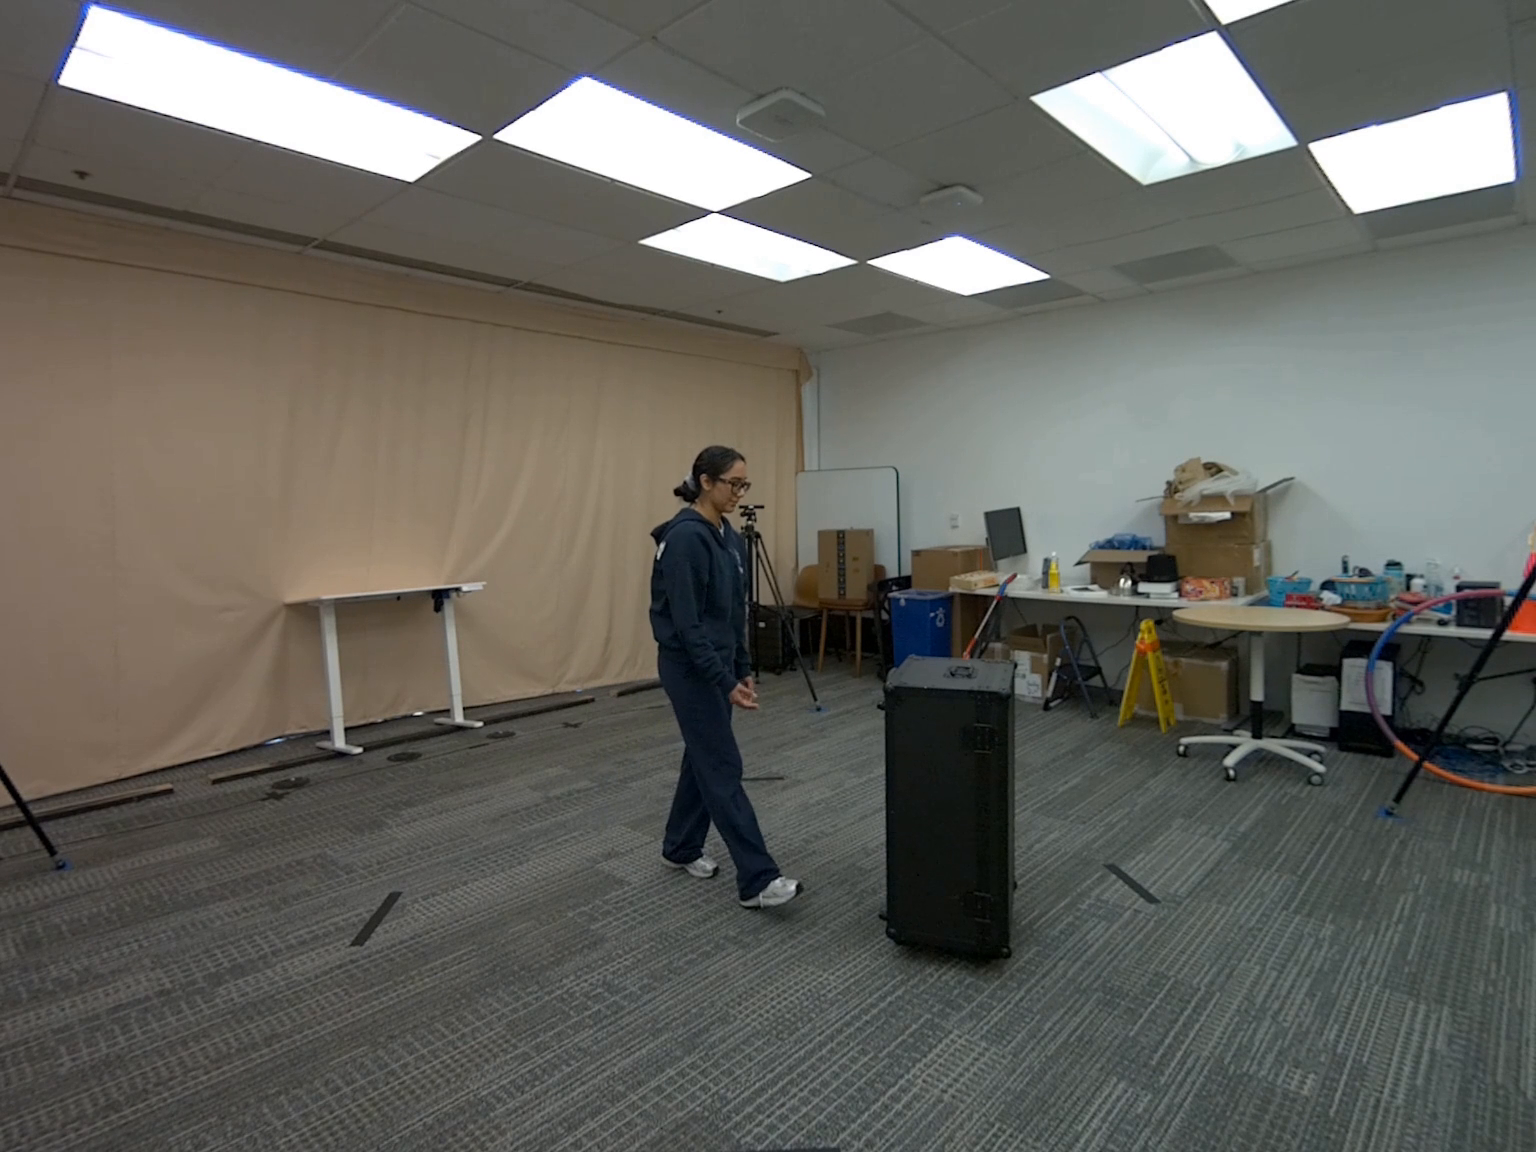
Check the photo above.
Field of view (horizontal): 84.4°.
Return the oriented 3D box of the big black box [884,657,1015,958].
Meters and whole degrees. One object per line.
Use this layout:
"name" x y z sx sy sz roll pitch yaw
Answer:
"big black box" 0.591 0.734 2.688 0.405 0.859 0.511 -1 4 20
